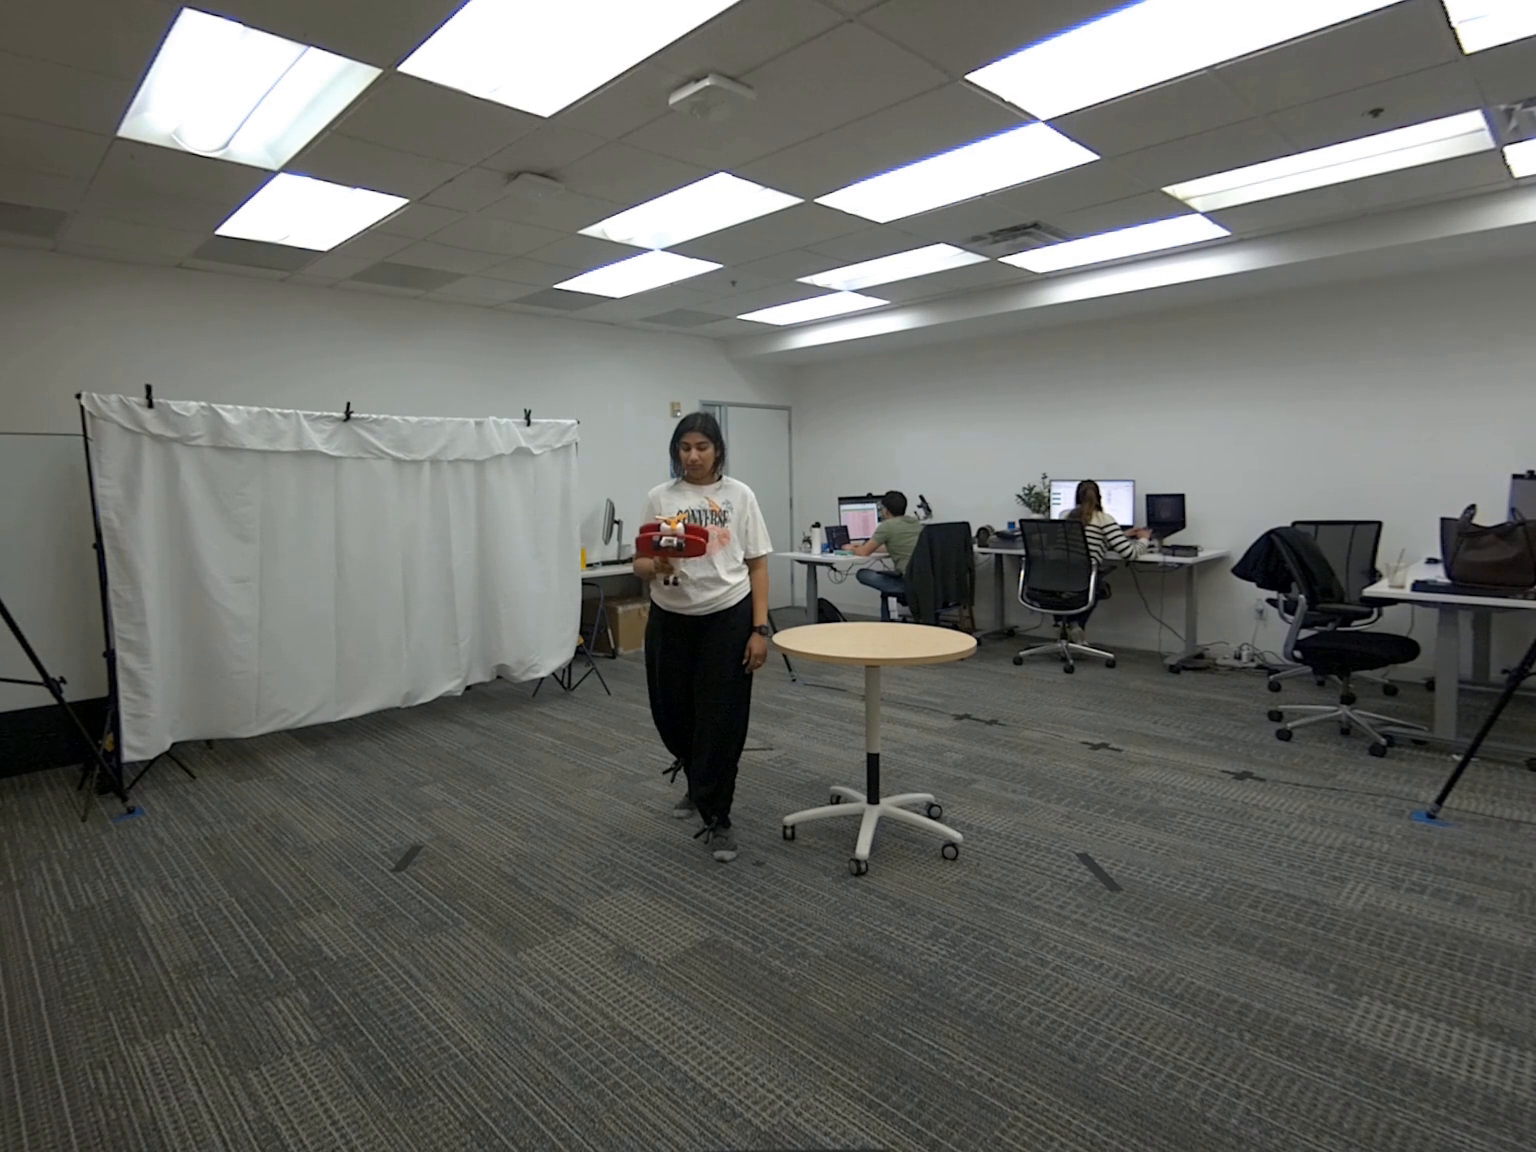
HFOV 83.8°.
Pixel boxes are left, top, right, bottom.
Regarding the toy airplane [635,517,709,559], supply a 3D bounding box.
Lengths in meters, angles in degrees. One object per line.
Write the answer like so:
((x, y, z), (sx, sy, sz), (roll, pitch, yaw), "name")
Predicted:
((-0.362, -0.087, 3.076), (0.246, 0.160, 0.258), (22, -48, -16), "toy airplane")
